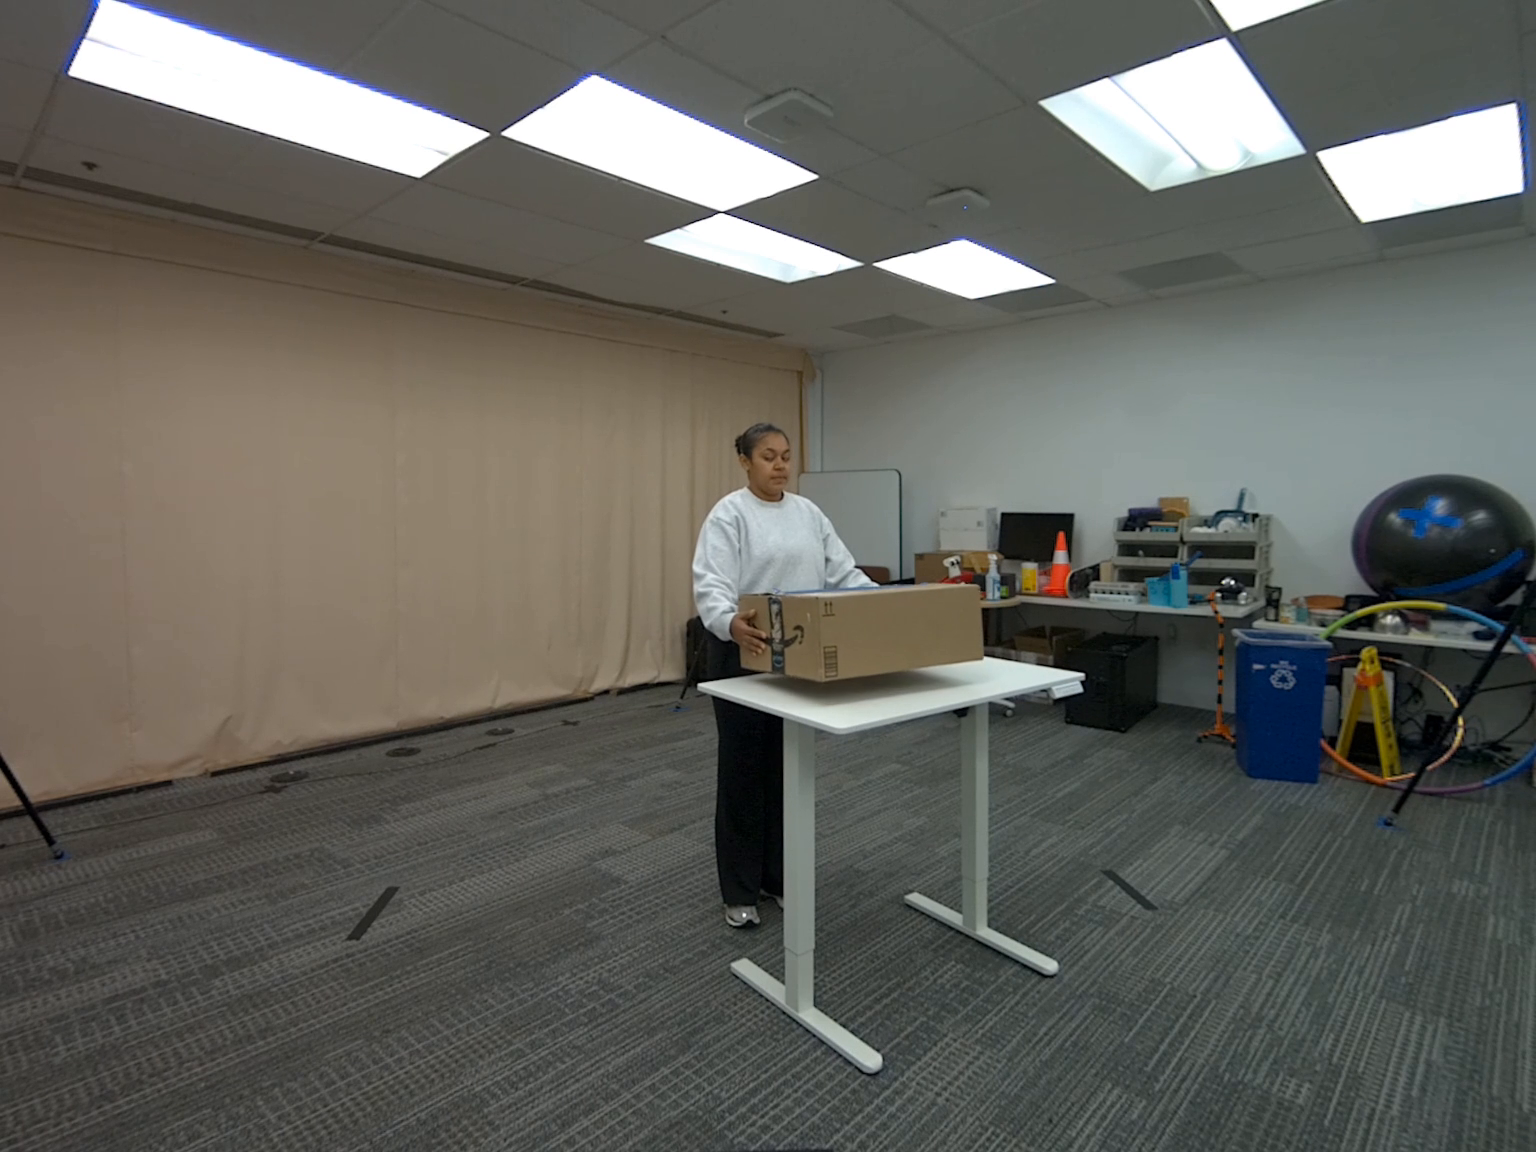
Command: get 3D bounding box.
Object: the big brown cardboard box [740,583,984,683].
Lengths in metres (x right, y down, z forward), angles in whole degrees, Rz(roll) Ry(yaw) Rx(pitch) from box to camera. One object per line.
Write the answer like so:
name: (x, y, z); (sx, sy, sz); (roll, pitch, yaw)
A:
big brown cardboard box: (0.255, 0.146, 2.429); (0.573, 0.233, 0.428); (-2, 0, -30)
